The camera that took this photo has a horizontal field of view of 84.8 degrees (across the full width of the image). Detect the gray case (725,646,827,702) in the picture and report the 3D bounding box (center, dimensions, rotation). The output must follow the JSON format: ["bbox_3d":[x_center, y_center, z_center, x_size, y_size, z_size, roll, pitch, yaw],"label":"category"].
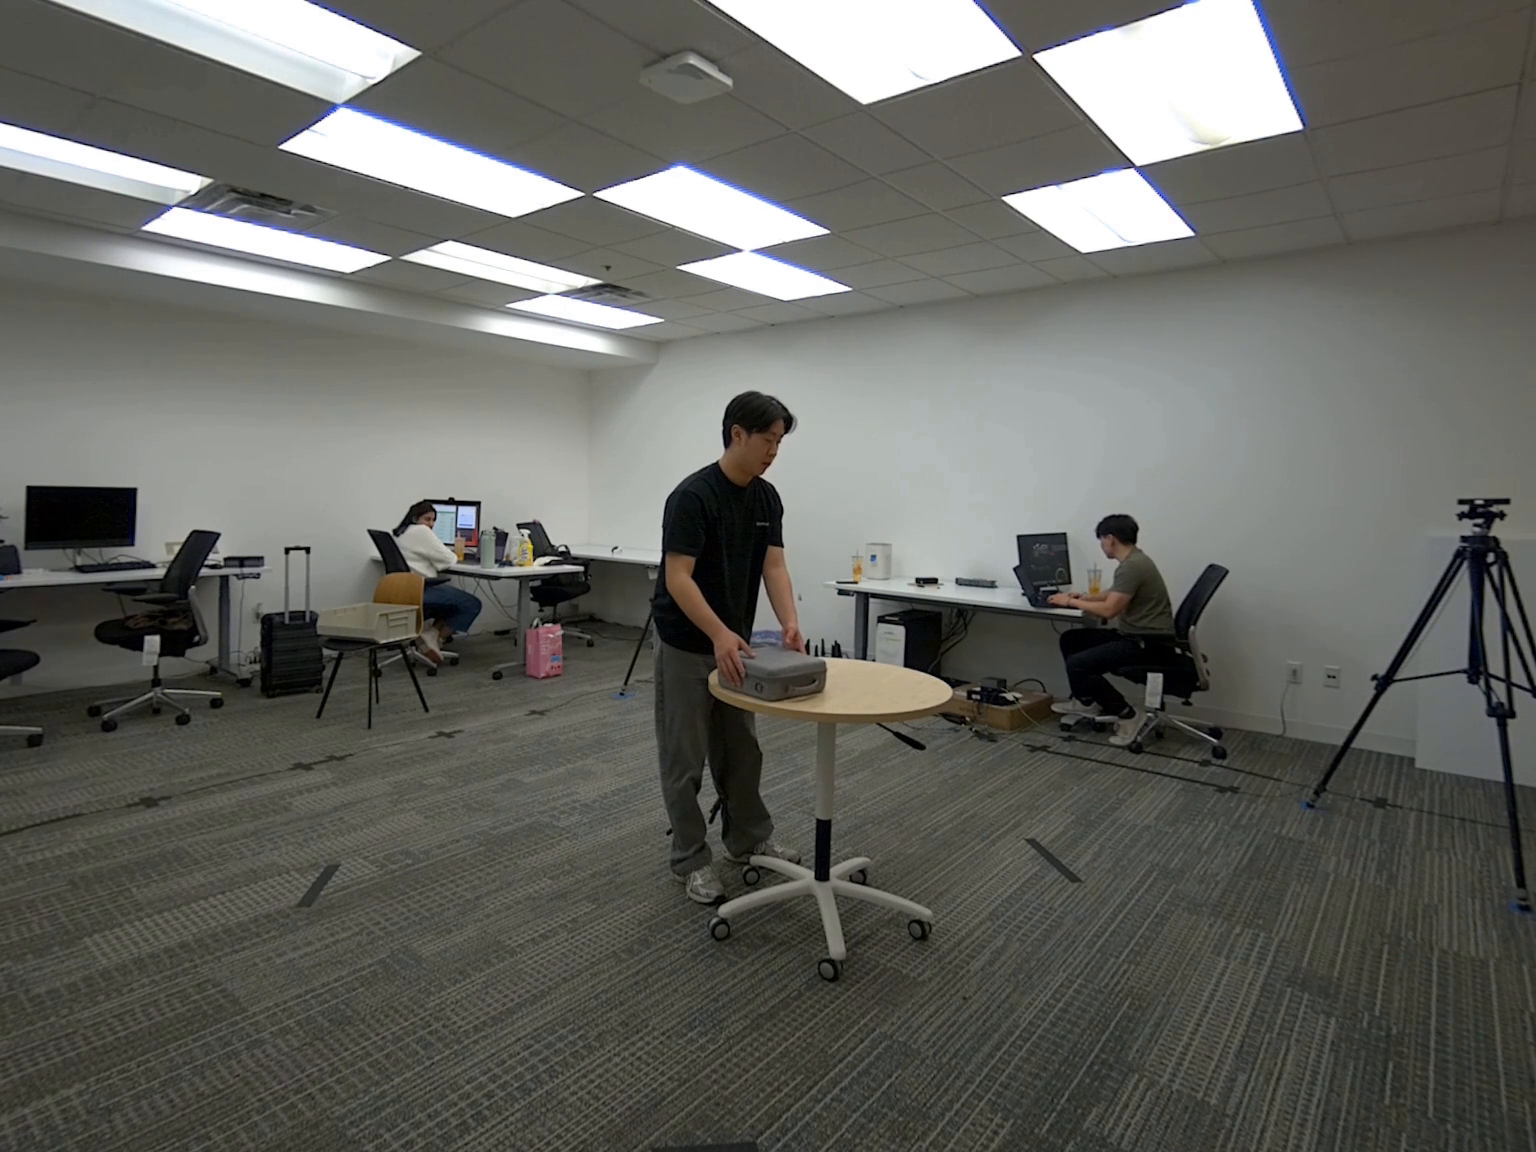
[{"bbox_3d":[0.021,0.295,2.579,0.255,0.102,0.297,-3,8,-42],"label":"gray case"}]
